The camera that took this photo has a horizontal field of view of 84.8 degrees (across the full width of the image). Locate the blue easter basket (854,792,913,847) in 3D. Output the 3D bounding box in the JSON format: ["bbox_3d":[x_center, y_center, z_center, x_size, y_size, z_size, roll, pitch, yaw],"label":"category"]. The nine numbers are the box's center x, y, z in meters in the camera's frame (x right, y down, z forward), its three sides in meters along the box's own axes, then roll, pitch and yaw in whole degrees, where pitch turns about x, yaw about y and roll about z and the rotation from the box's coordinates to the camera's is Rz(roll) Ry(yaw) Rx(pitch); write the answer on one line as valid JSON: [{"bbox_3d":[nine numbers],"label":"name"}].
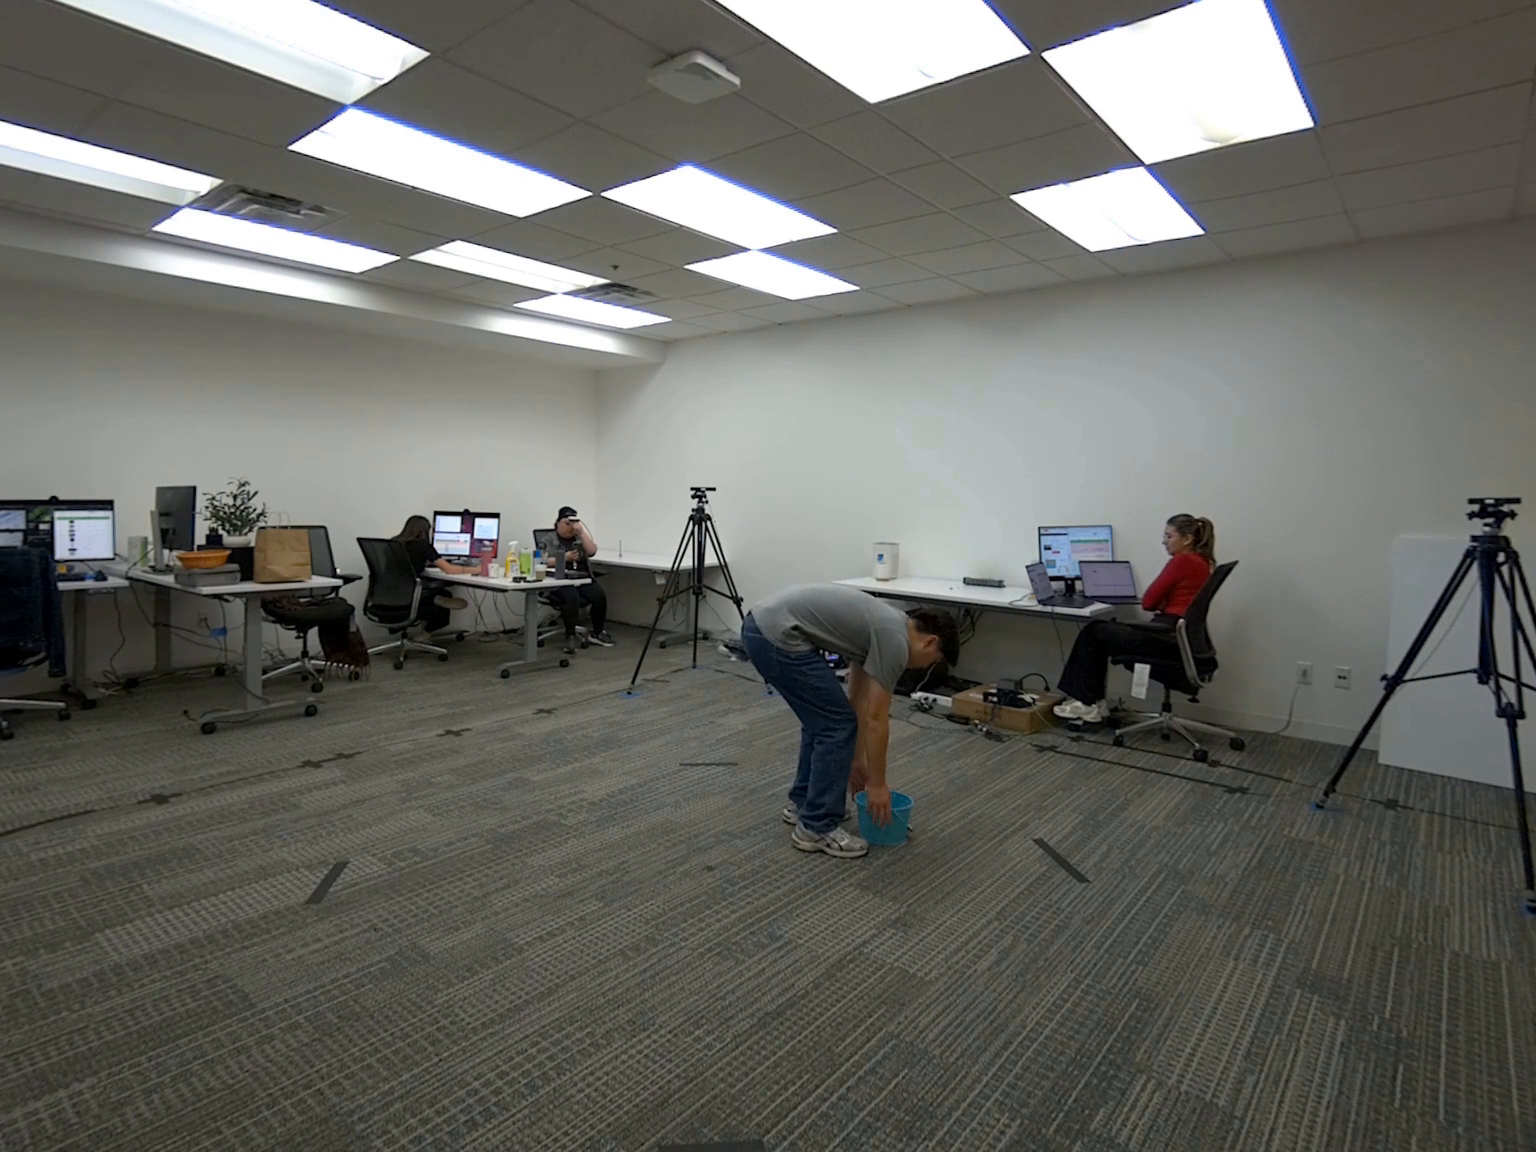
[{"bbox_3d":[0.460,0.970,3.434,0.243,0.155,0.245,0,5,-2],"label":"blue easter basket"}]
